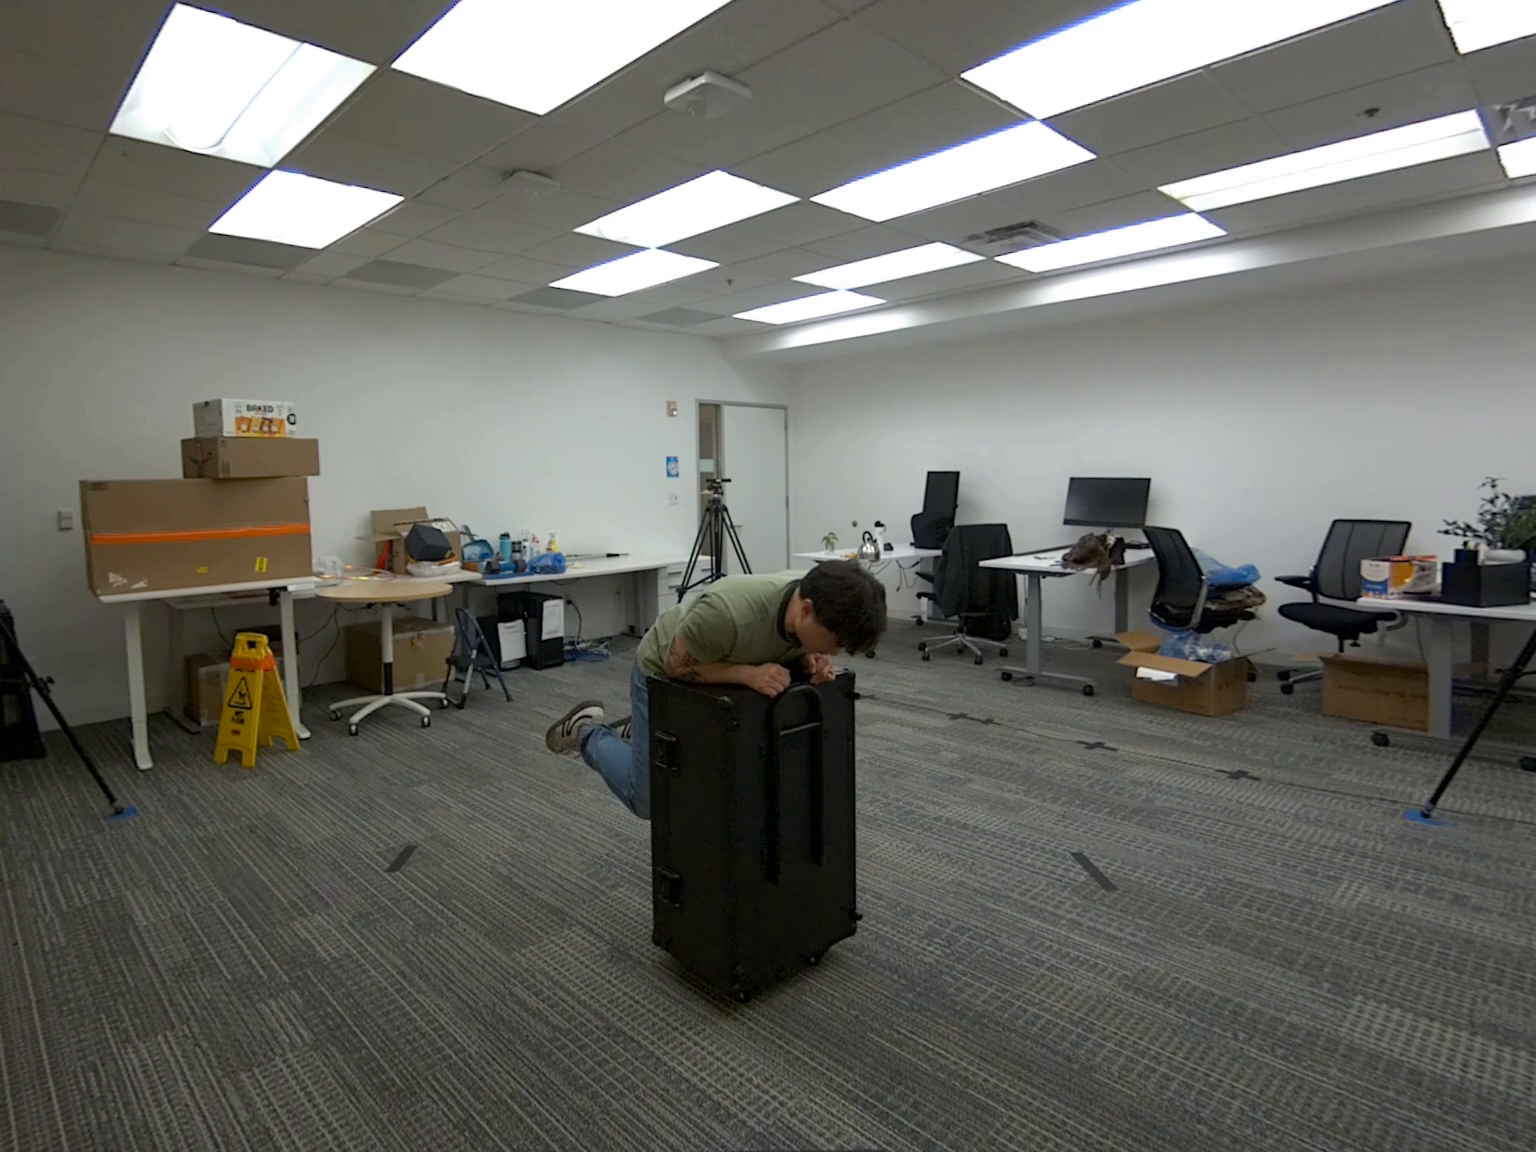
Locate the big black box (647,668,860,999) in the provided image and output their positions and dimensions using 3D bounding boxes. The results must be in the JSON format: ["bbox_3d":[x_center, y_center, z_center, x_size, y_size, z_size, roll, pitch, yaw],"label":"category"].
[{"bbox_3d":[-0.027,0.698,2.445,0.507,0.857,0.409,-4,7,-41],"label":"big black box"}]
